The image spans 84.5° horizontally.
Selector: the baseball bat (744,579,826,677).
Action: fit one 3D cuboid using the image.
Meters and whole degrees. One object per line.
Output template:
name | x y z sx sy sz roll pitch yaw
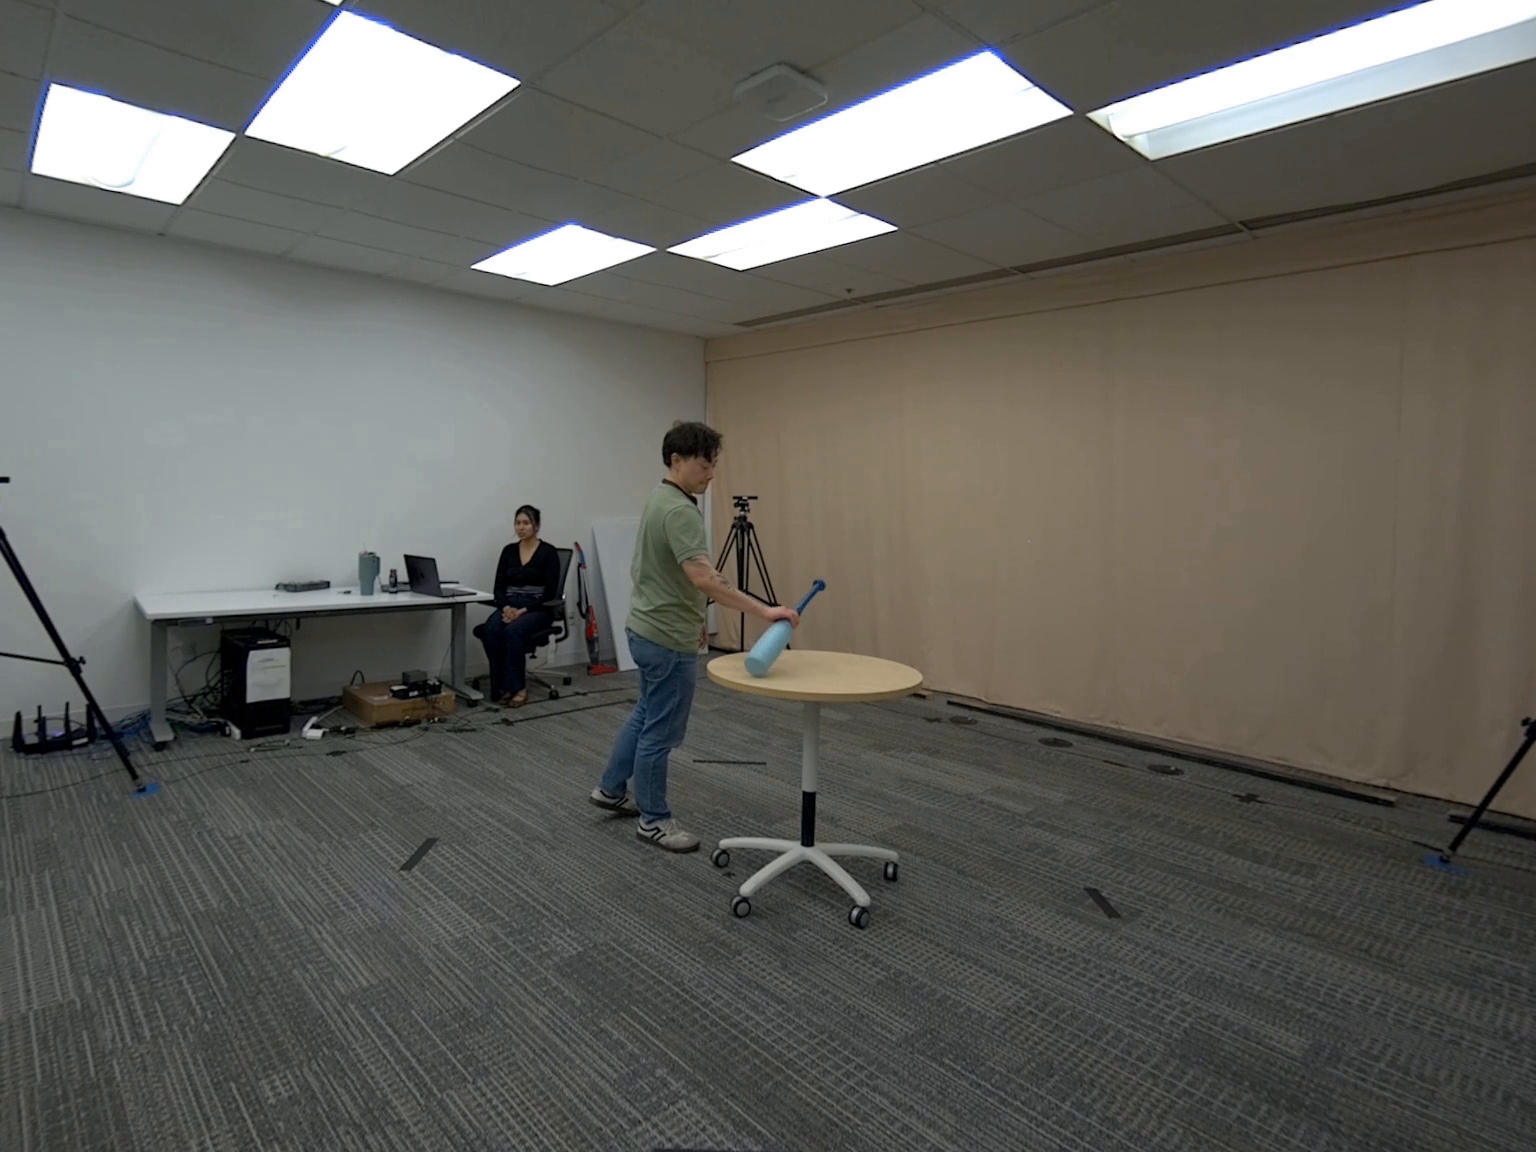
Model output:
baseball bat | 0.072 0.175 3.005 0.091 0.087 0.542 4 33 33
